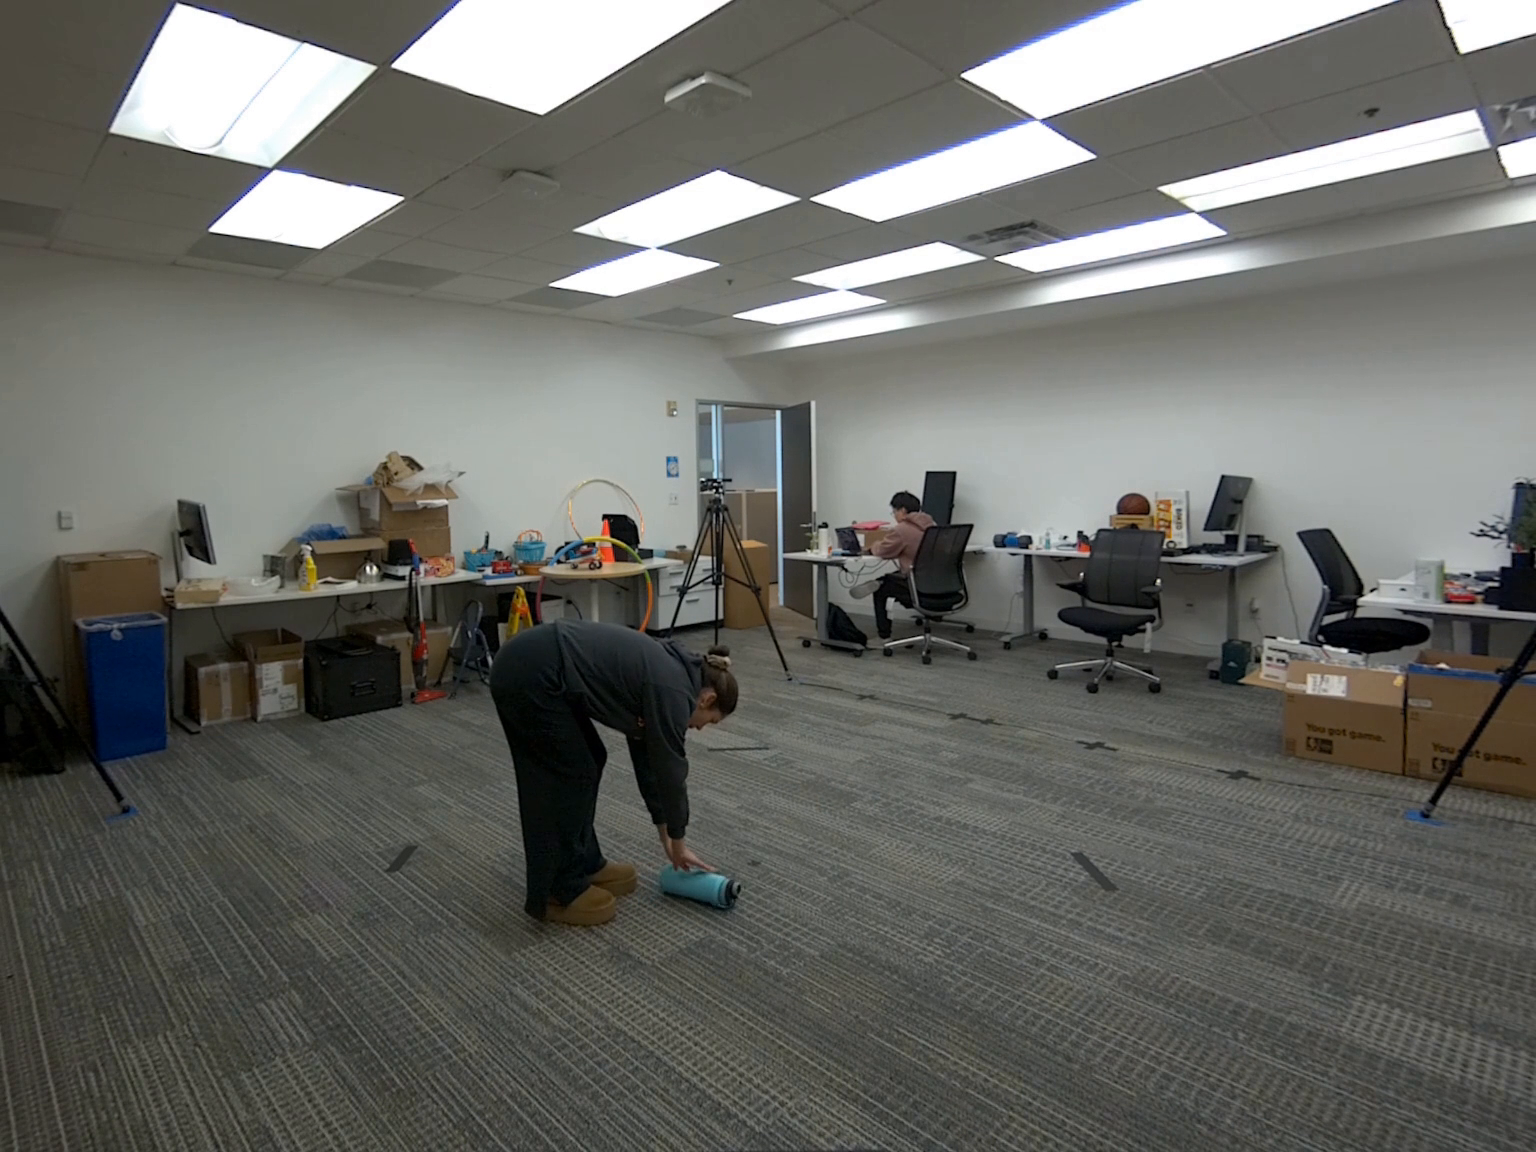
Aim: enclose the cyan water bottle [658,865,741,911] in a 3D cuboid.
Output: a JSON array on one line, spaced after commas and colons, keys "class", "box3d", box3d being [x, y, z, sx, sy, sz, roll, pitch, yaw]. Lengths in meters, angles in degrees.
[{"class": "cyan water bottle", "box3d": [-0.220, 1.030, 2.823, 0.290, 0.092, 0.090, 1, 5, 27]}]
